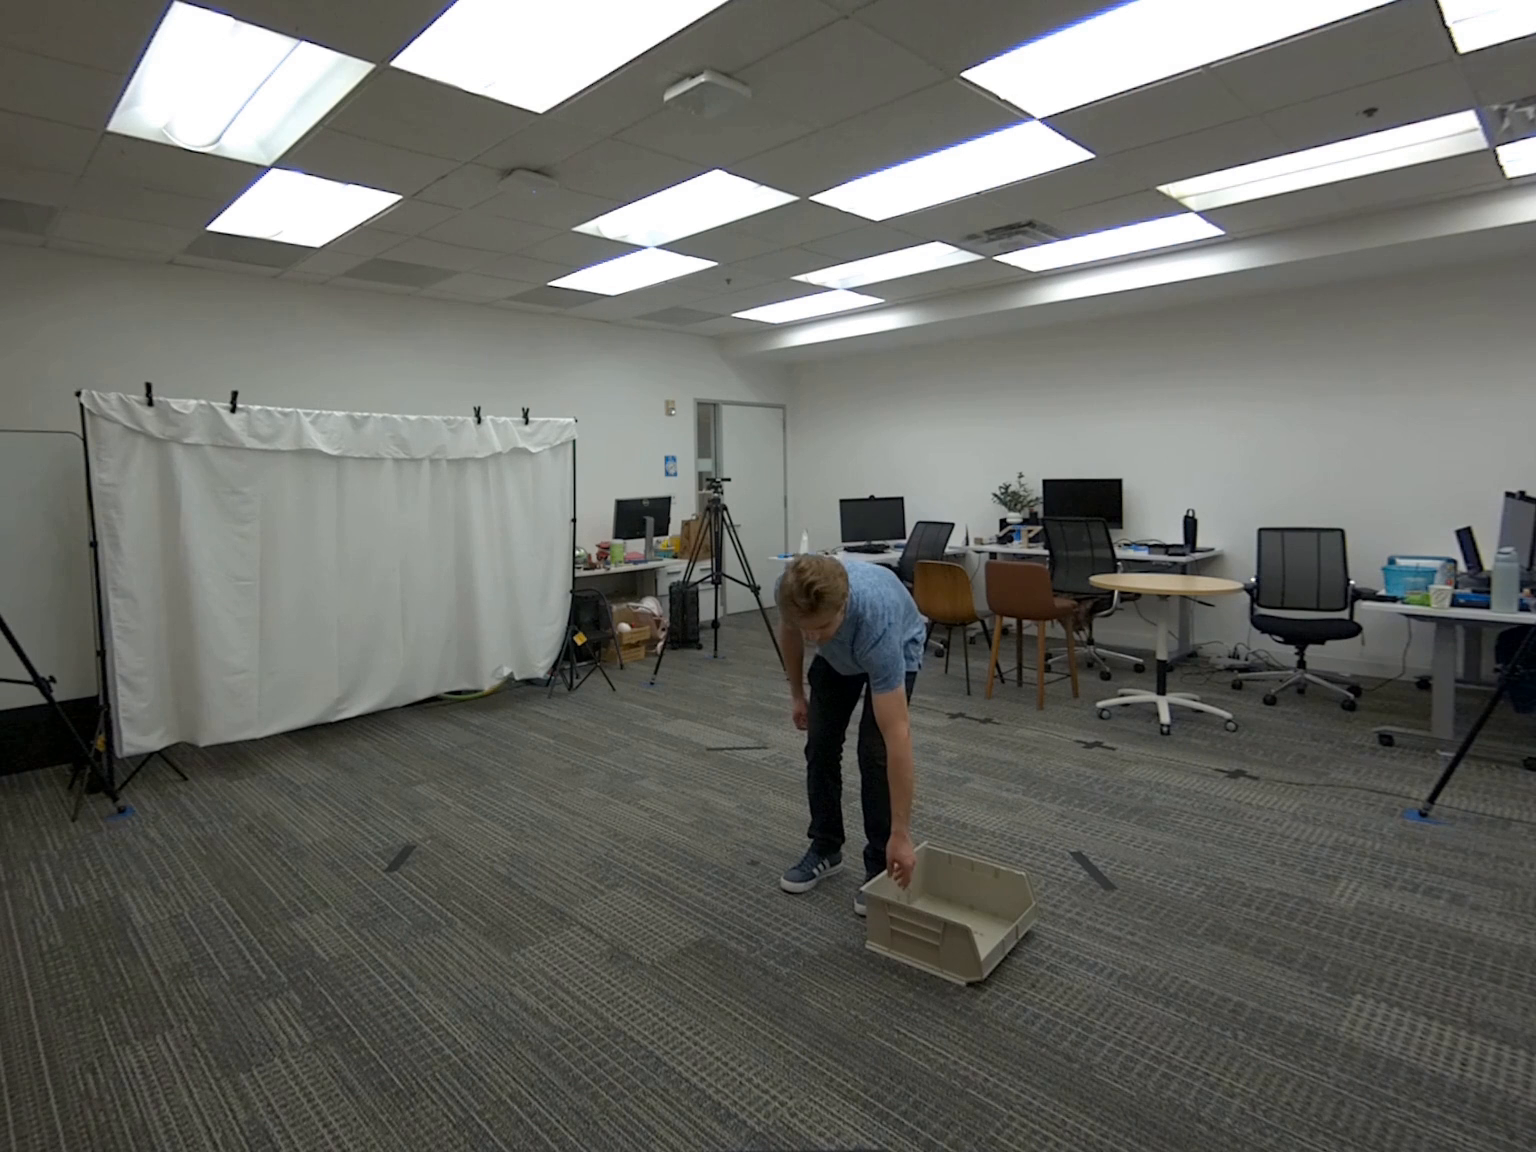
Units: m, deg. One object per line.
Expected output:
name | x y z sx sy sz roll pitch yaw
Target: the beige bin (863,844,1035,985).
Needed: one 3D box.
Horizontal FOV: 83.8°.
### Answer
beige bin | 0.552 1.001 2.565 0.388 0.188 0.412 2 7 39
